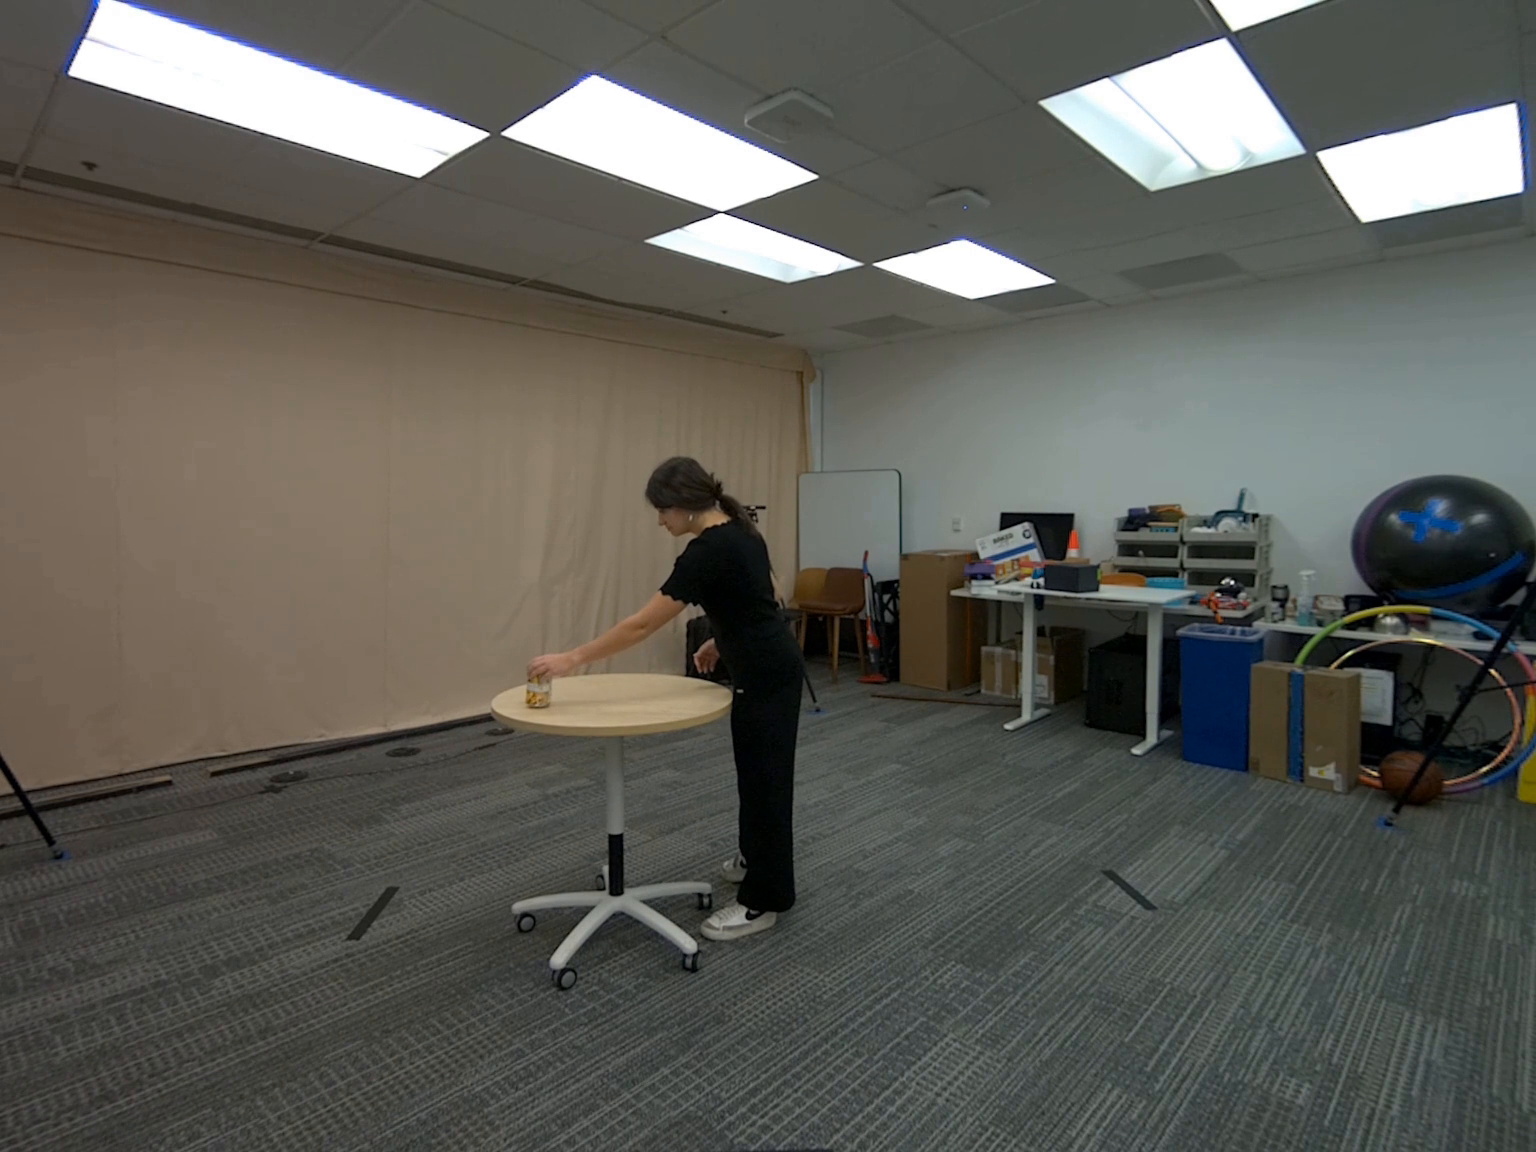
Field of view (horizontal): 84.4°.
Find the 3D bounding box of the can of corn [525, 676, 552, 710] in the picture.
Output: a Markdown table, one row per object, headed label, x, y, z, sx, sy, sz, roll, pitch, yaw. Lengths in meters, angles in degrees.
| label | x | y | z | sx | sy | sz | roll | pitch | yaw |
| --- | --- | --- | --- | --- | --- | --- | --- | --- | --- |
| can of corn | -0.692 | 0.333 | 2.557 | 0.074 | 0.111 | 0.074 | 5 | 4 | -2 |
